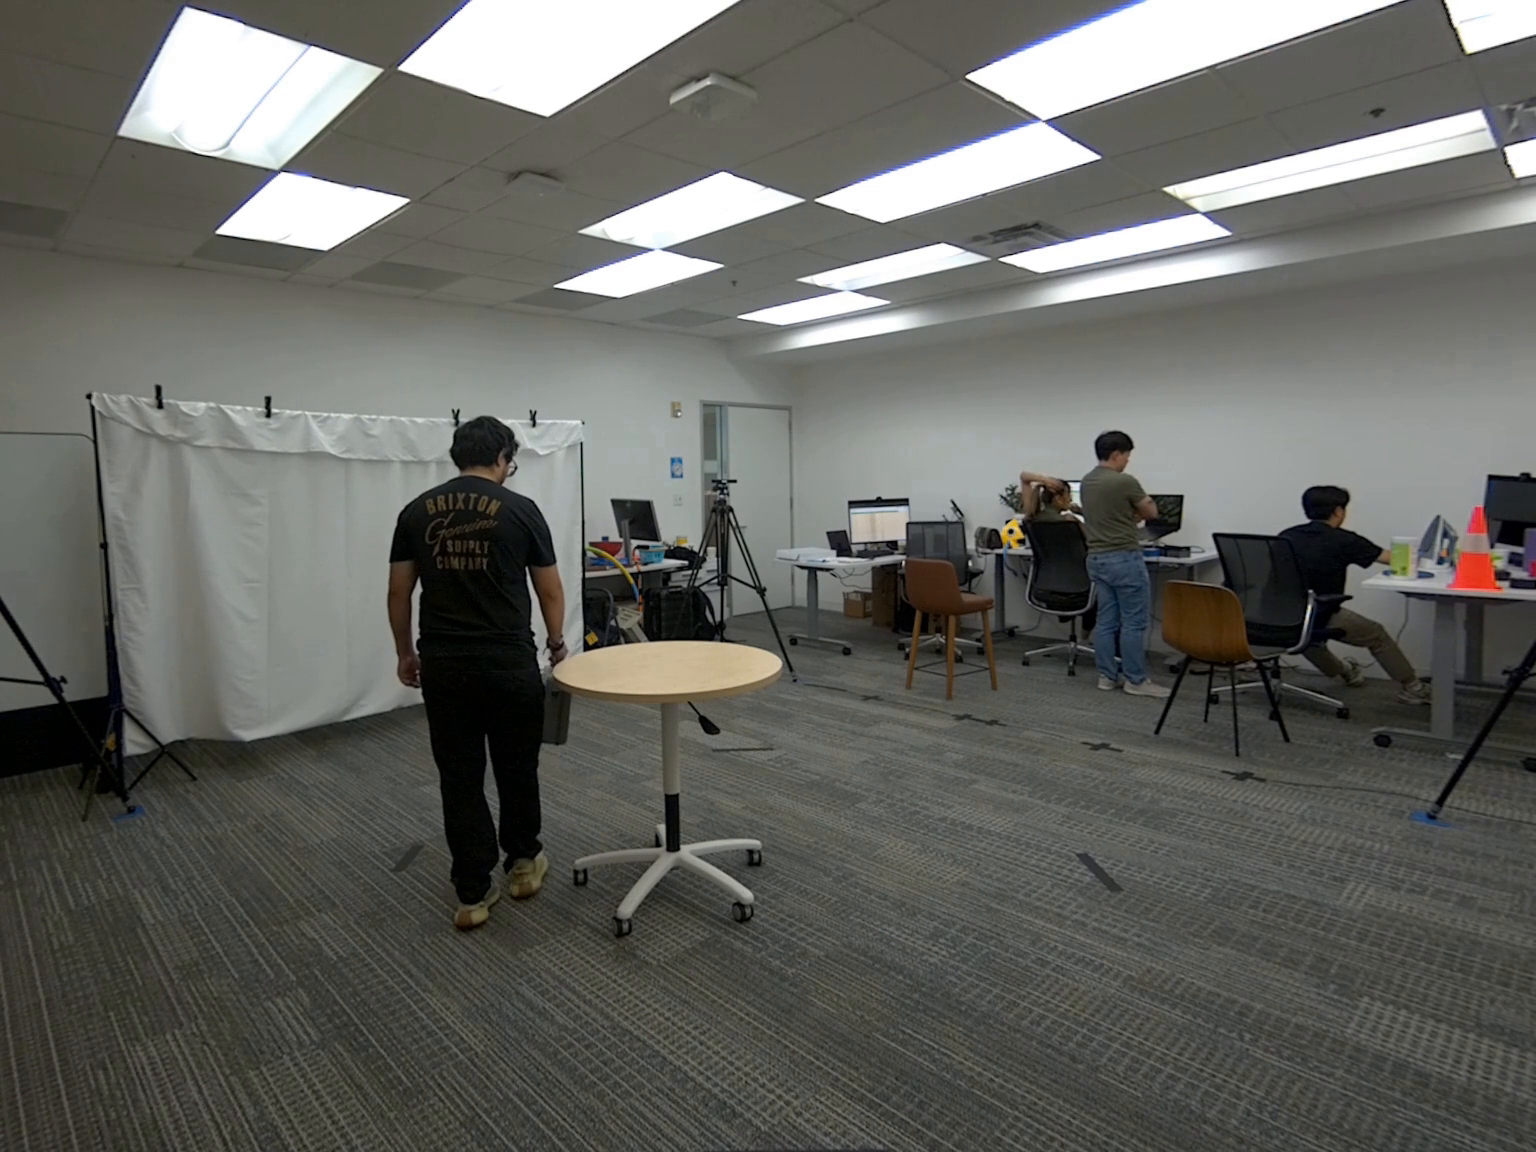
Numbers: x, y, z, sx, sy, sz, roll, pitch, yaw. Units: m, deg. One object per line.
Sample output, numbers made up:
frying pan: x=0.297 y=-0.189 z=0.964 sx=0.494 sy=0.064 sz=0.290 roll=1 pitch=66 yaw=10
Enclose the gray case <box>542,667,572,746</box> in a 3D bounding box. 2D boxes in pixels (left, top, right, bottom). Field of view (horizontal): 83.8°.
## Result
gray case: x=-0.782 y=0.471 z=3.141 sx=0.103 sy=0.260 sz=0.261 roll=4 pitch=3 yaw=-15
